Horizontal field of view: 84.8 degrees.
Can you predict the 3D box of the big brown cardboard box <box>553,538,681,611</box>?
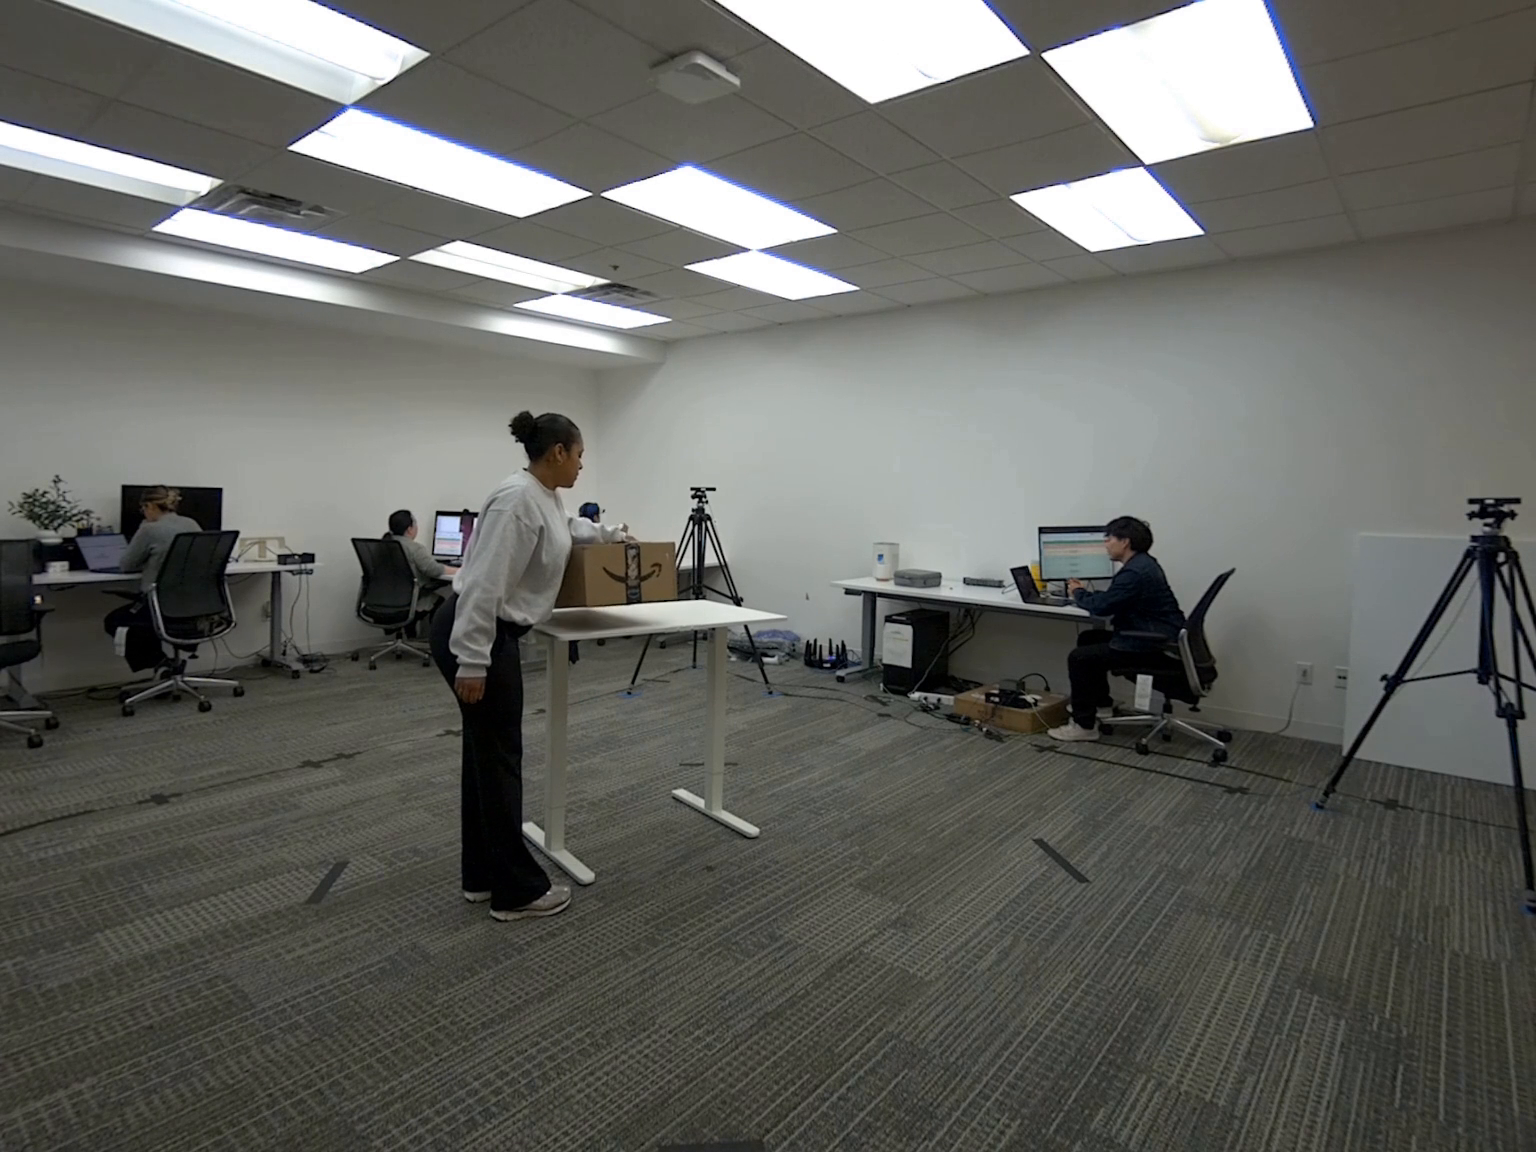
[{"bbox_3d":[-0.695,-0.006,3.197,0.607,0.233,0.405,-3,1,43],"label":"big brown cardboard box"}]
